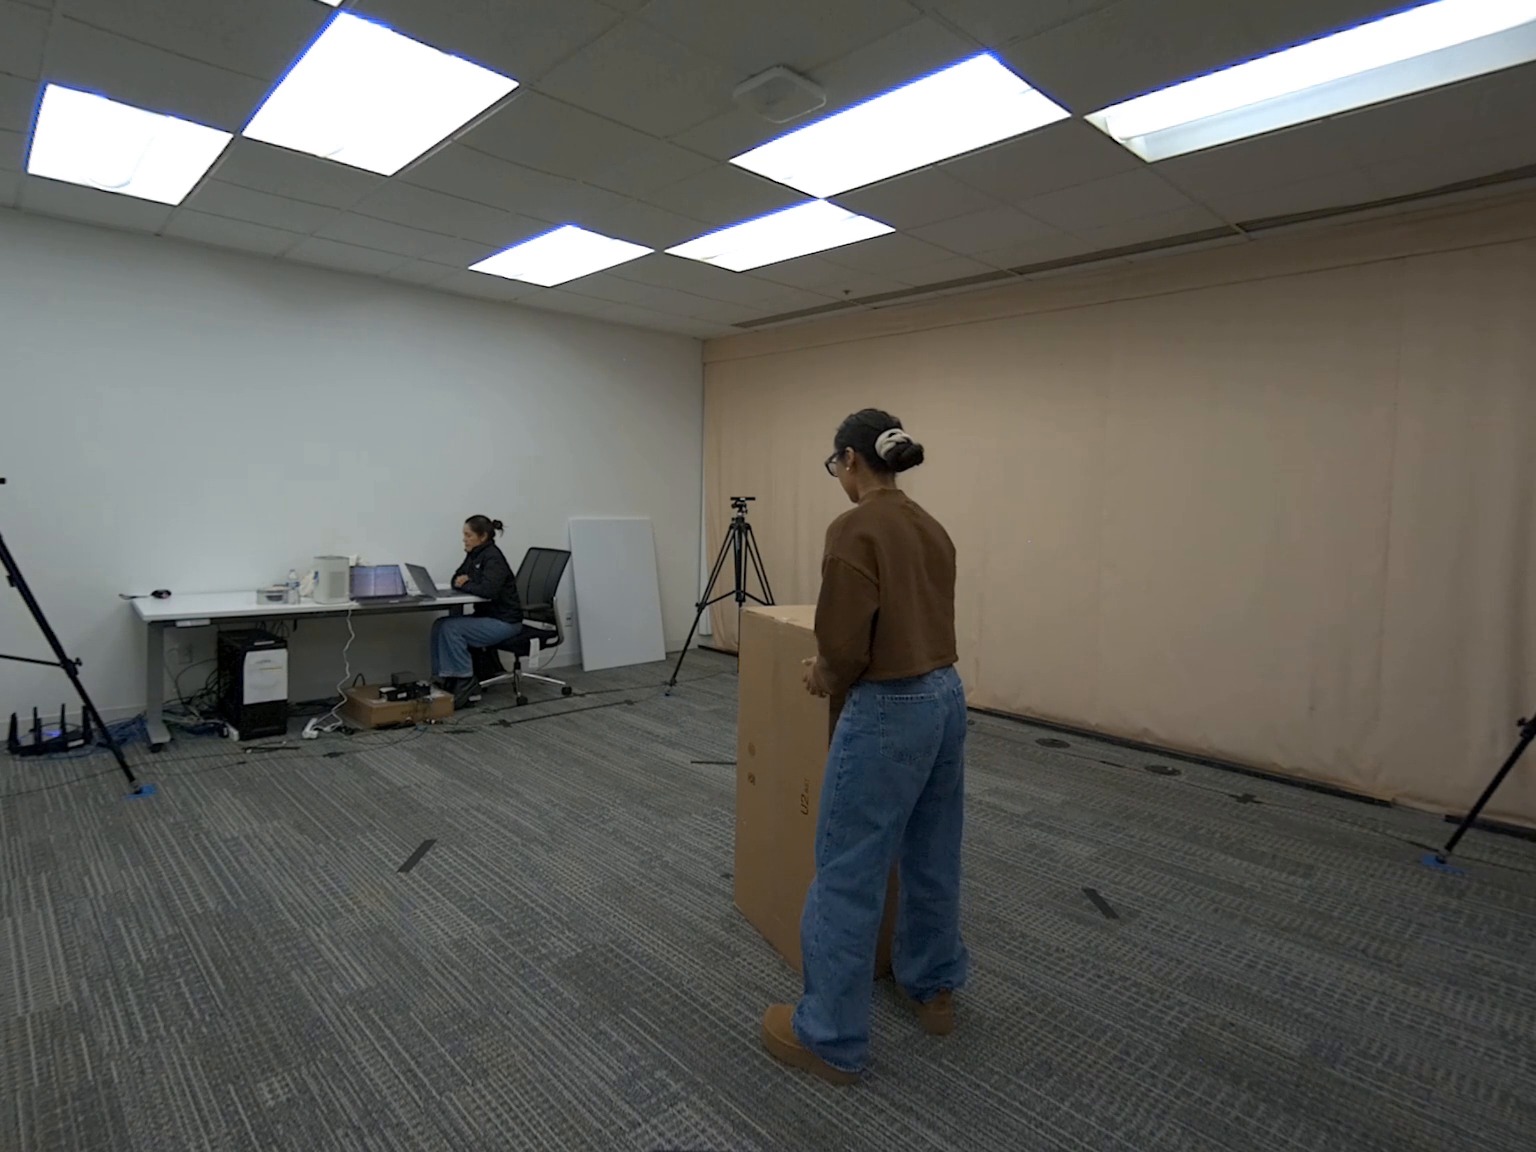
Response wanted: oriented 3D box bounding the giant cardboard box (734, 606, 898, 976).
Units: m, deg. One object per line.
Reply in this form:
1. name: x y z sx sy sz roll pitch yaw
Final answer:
1. giant cardboard box: 0.207 0.645 2.694 0.418 1.023 0.590 0 4 -28
